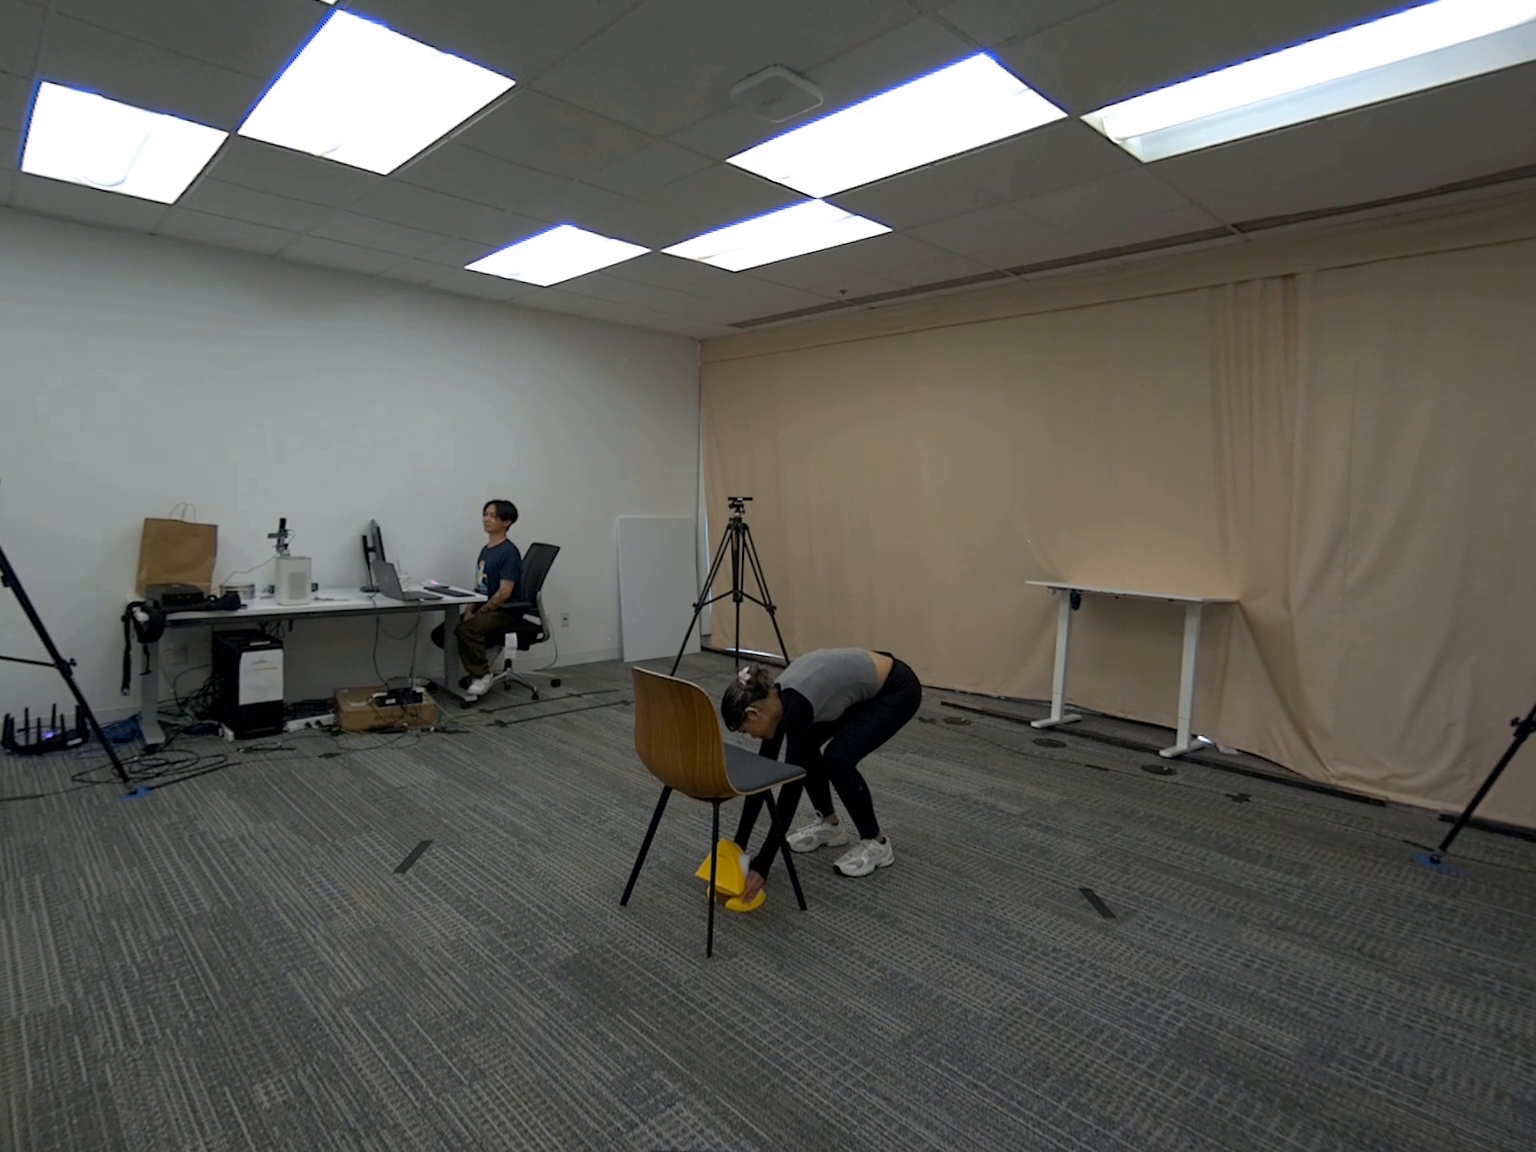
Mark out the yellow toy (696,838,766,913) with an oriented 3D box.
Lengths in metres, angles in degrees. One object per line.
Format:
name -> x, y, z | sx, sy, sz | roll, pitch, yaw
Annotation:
yellow toy -> -0.118, 1.009, 2.932 | 0.210, 0.230, 0.189 | 3, 5, 42
